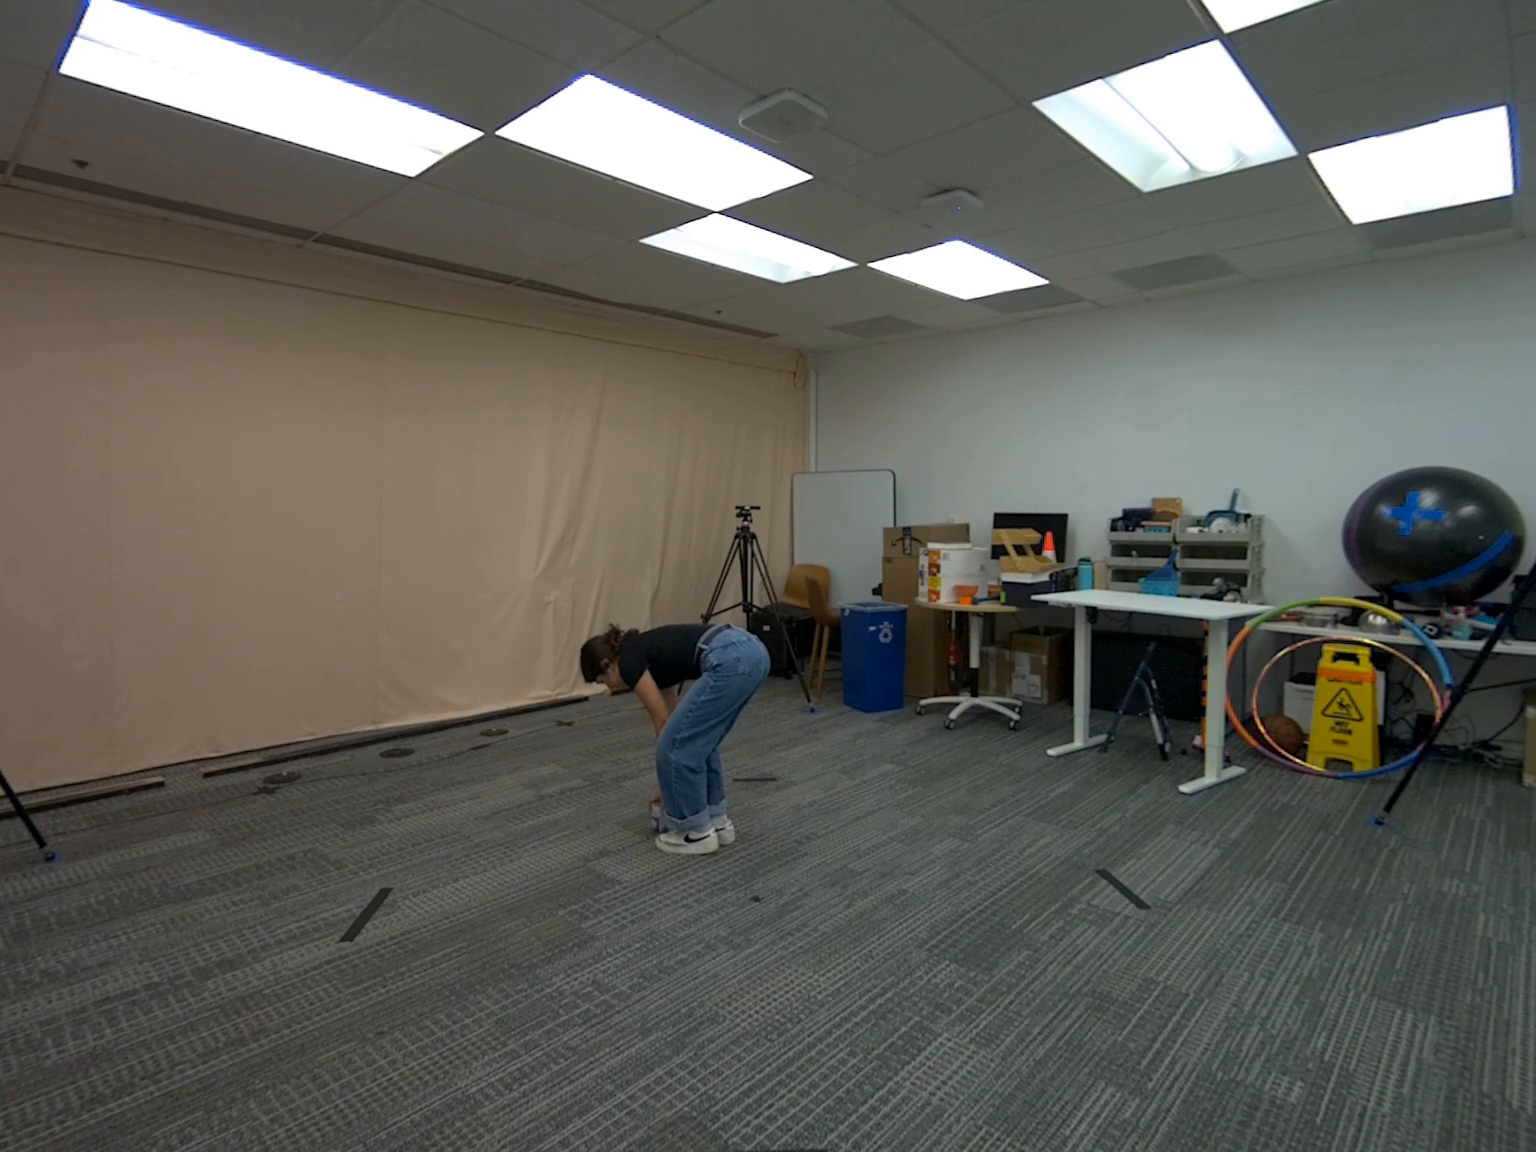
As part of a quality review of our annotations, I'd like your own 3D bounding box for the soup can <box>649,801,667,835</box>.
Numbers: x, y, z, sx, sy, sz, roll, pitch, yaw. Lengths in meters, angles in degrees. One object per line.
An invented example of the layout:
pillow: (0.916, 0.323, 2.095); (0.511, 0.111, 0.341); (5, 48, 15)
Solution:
soup can: (-0.468, 1.038, 3.637); (0.067, 0.121, 0.067); (2, 2, -2)
